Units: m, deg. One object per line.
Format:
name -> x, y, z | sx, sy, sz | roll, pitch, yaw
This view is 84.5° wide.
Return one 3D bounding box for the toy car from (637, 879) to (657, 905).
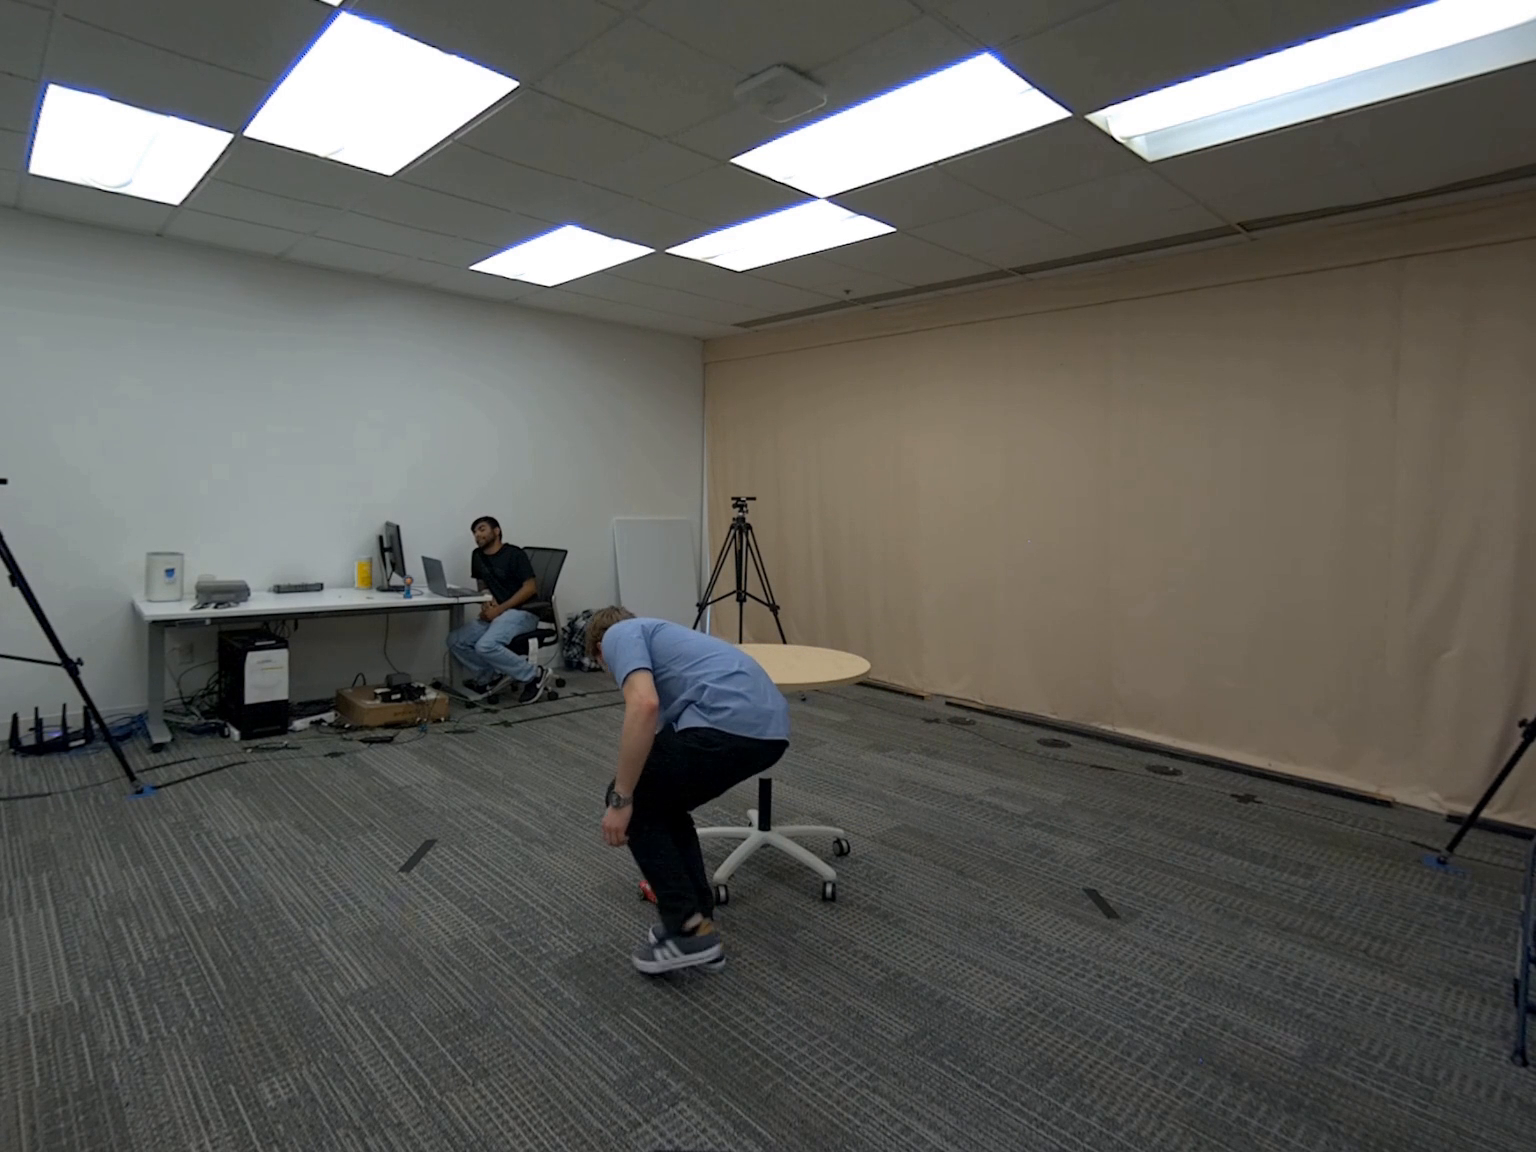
toy car -> -0.341, 1.100, 2.862 | 0.127, 0.083, 0.259 | -2, -4, -42
